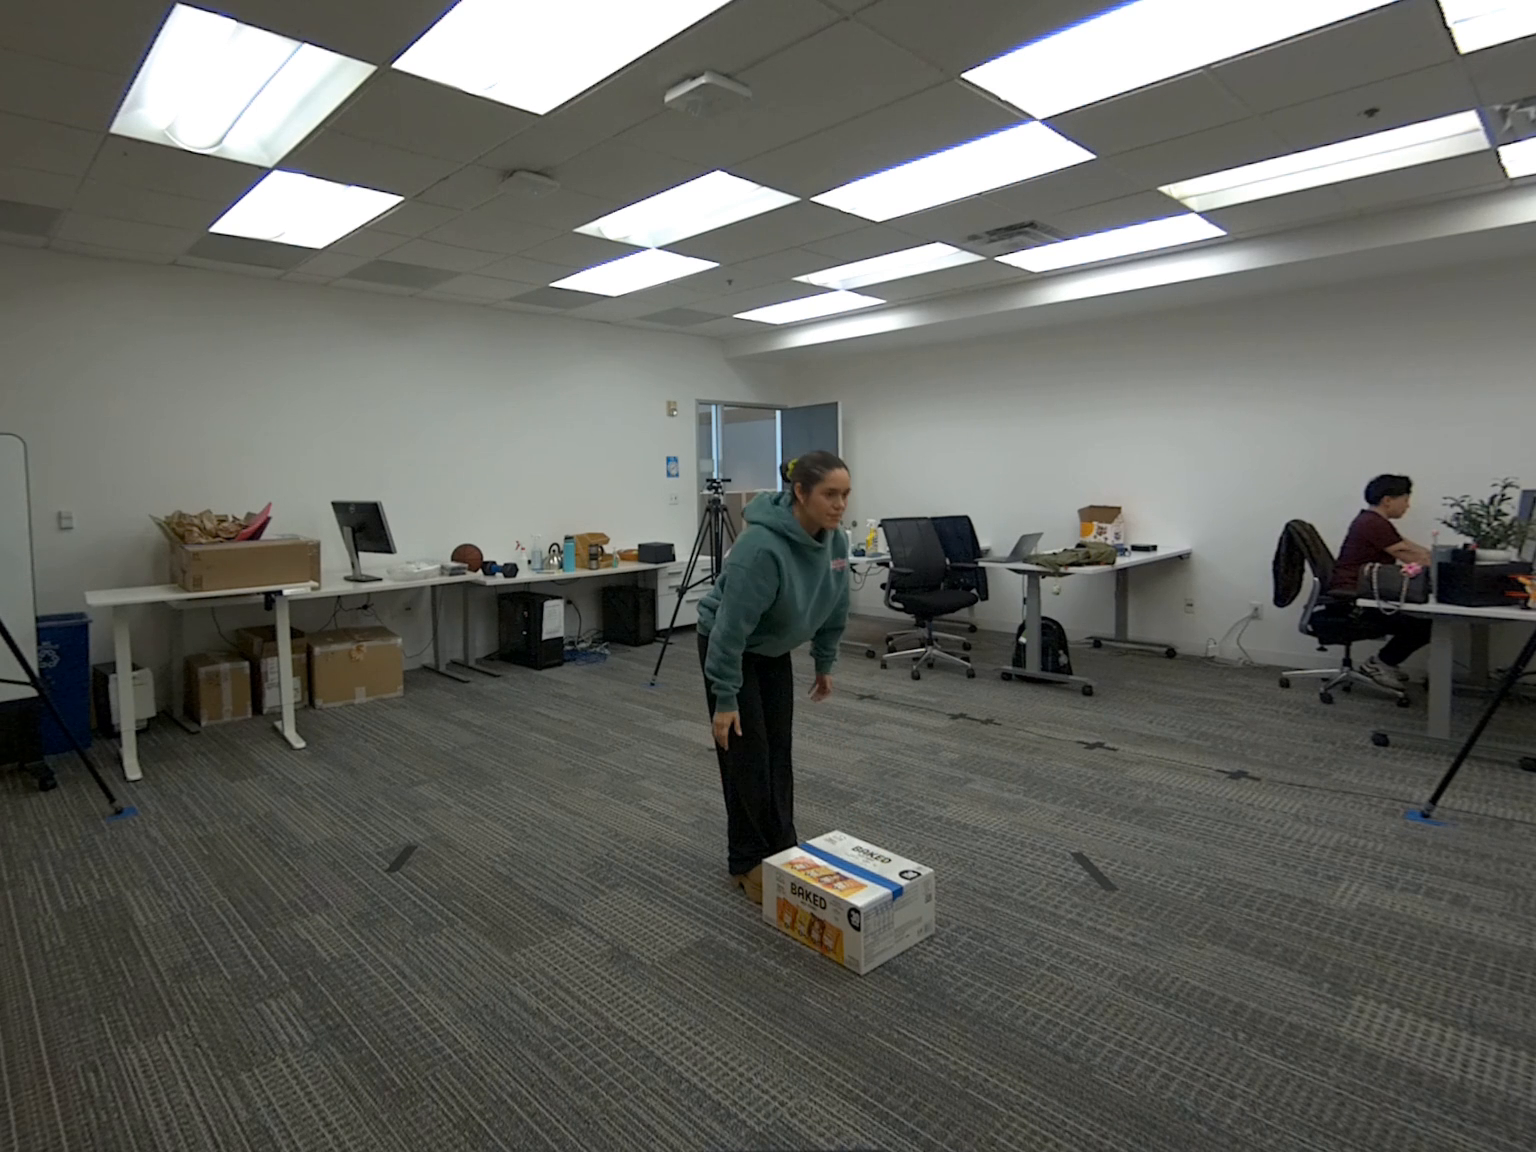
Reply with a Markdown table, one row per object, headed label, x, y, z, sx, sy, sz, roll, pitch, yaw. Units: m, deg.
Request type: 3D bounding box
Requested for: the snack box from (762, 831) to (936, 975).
| label | x | y | z | sx | sy | sz | roll | pitch | yaw |
| --- | --- | --- | --- | --- | --- | --- | --- | --- | --- |
| snack box | 0.253 | 0.995 | 2.633 | 0.331 | 0.205 | 0.418 | -7 | 8 | -41 |
